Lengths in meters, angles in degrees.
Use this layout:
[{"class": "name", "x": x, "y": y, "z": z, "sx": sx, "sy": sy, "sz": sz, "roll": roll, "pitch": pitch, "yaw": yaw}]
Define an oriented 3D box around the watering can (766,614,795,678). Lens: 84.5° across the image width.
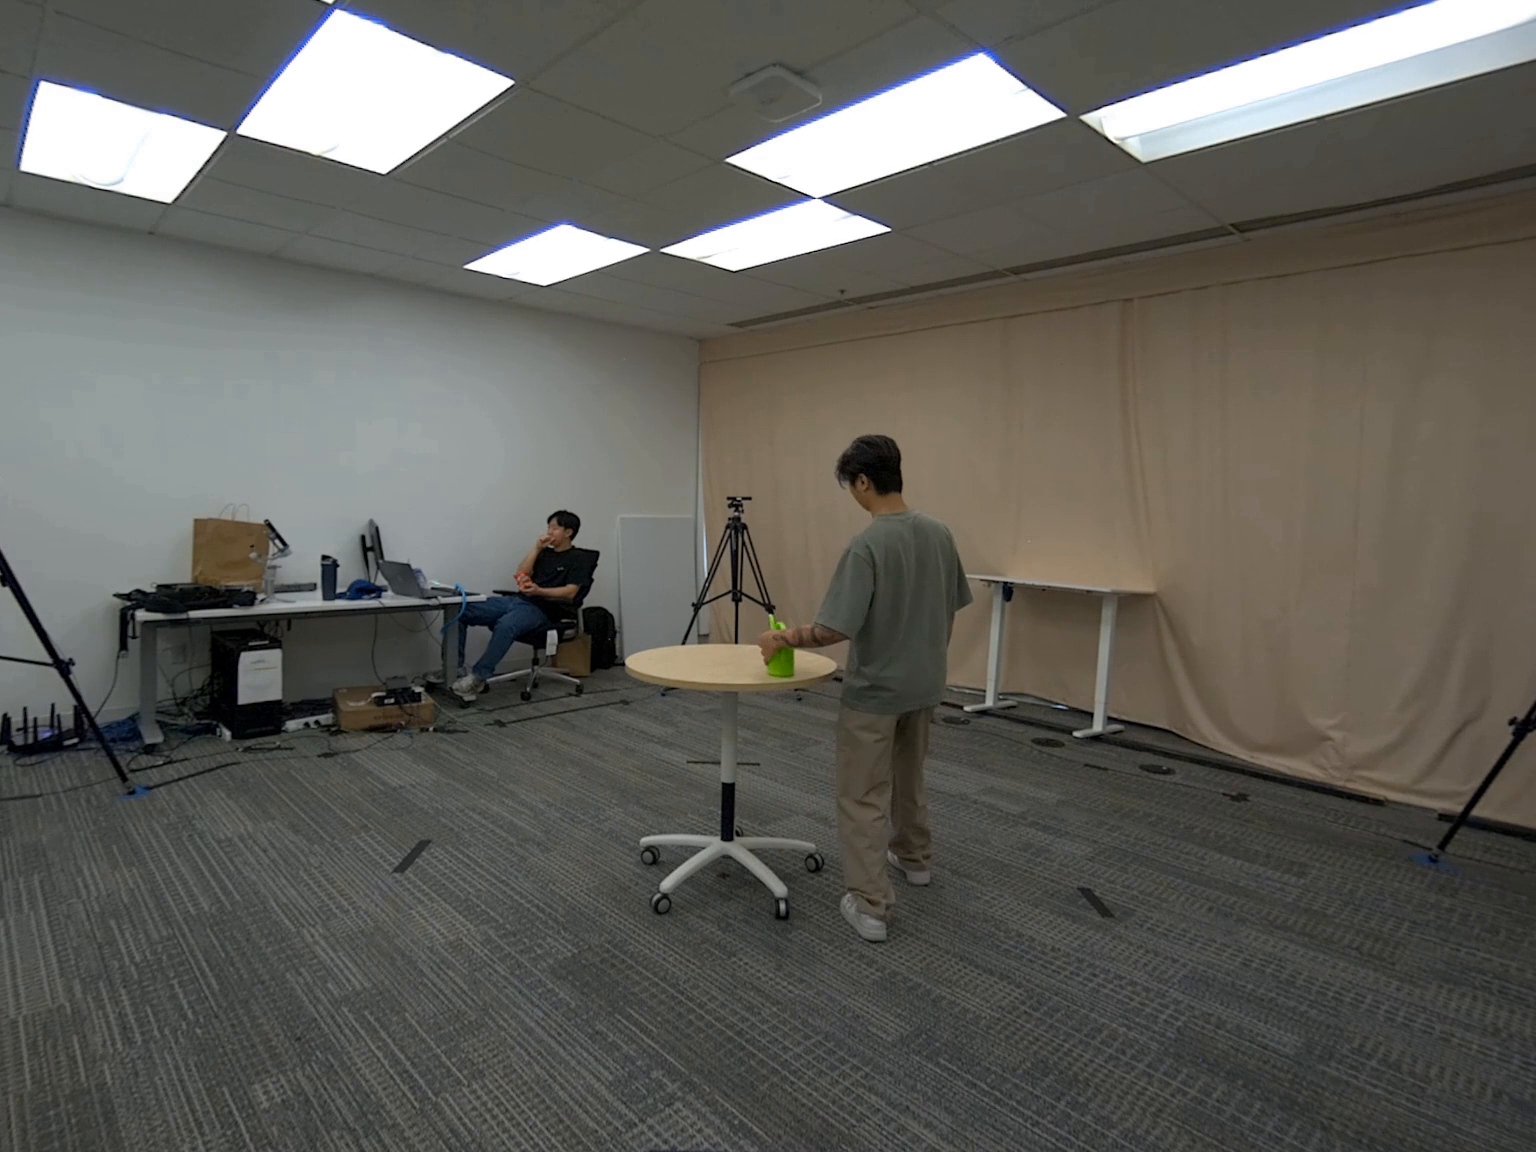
[{"class": "watering can", "x": 0.044, "y": 0.247, "z": 2.894, "sx": 0.098, "sy": 0.176, "sz": 0.278, "roll": 1, "pitch": 3, "yaw": -1}]
